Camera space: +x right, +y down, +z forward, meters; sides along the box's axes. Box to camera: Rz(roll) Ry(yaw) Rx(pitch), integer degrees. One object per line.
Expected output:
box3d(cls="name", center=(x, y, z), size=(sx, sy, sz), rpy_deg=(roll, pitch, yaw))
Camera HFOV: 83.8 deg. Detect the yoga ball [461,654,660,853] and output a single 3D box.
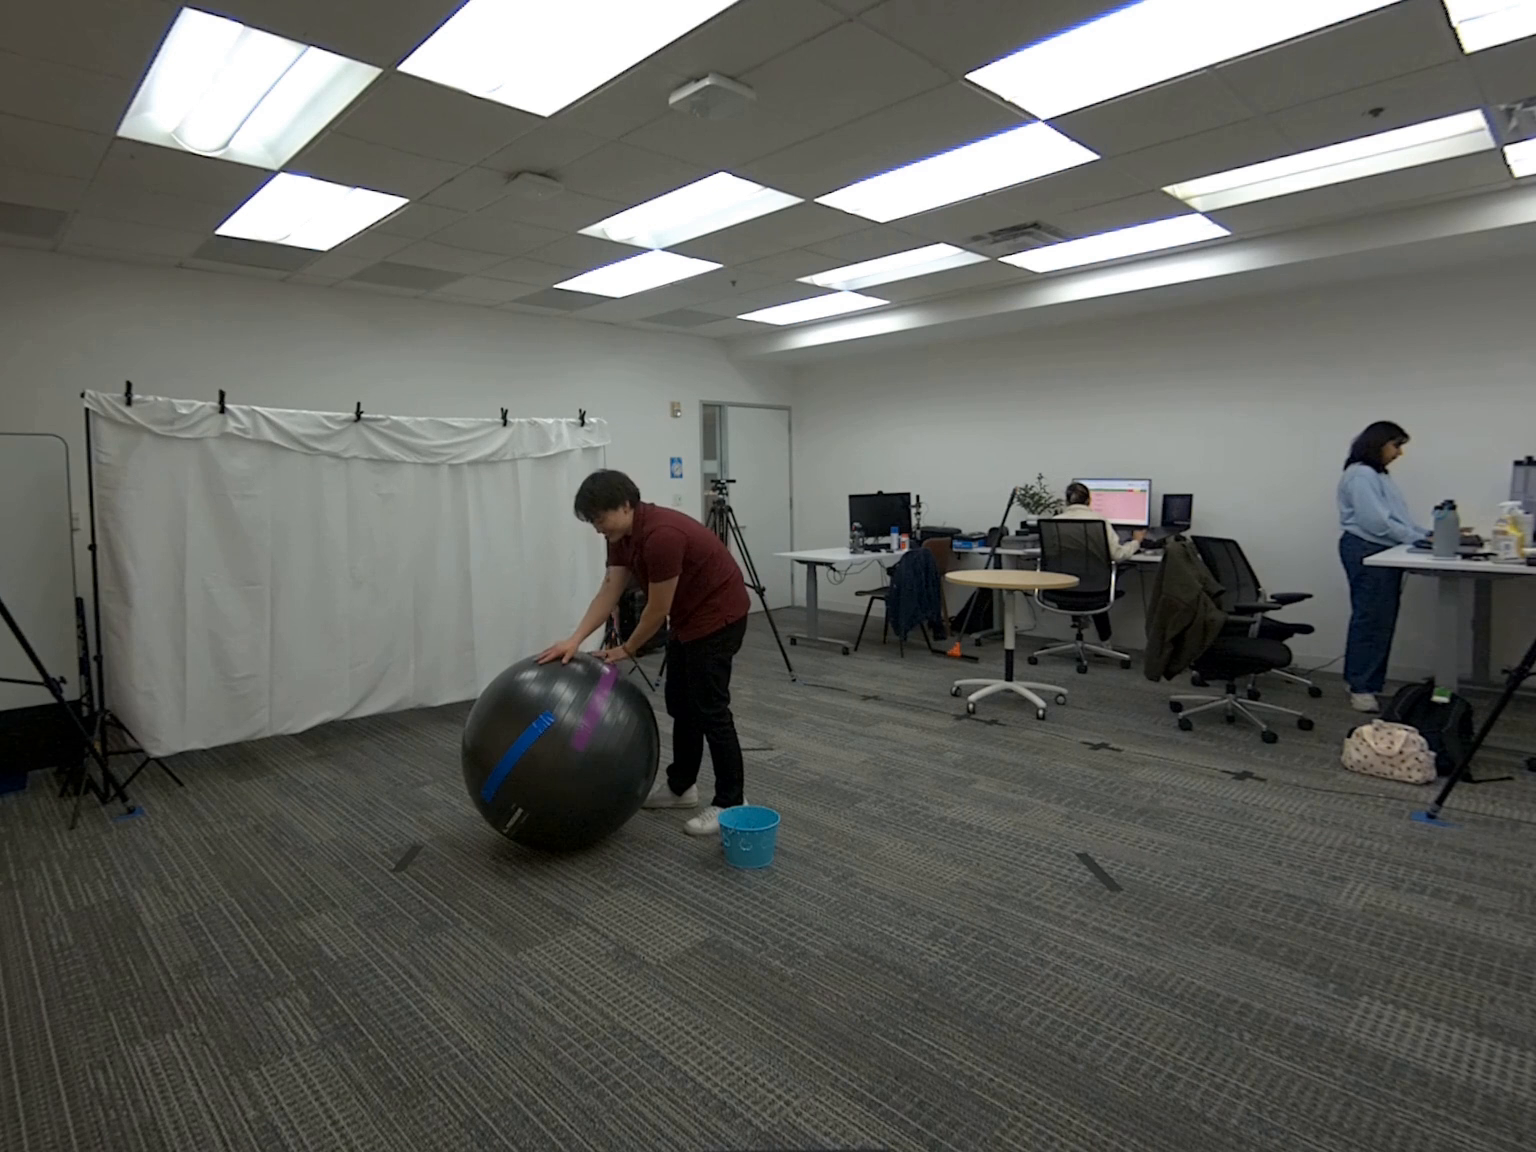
box3d(cls="yoga ball", center=(-0.810, 0.676, 3.345), size=(0.757, 0.755, 0.762), rpy_deg=(-1, 5, -2))
